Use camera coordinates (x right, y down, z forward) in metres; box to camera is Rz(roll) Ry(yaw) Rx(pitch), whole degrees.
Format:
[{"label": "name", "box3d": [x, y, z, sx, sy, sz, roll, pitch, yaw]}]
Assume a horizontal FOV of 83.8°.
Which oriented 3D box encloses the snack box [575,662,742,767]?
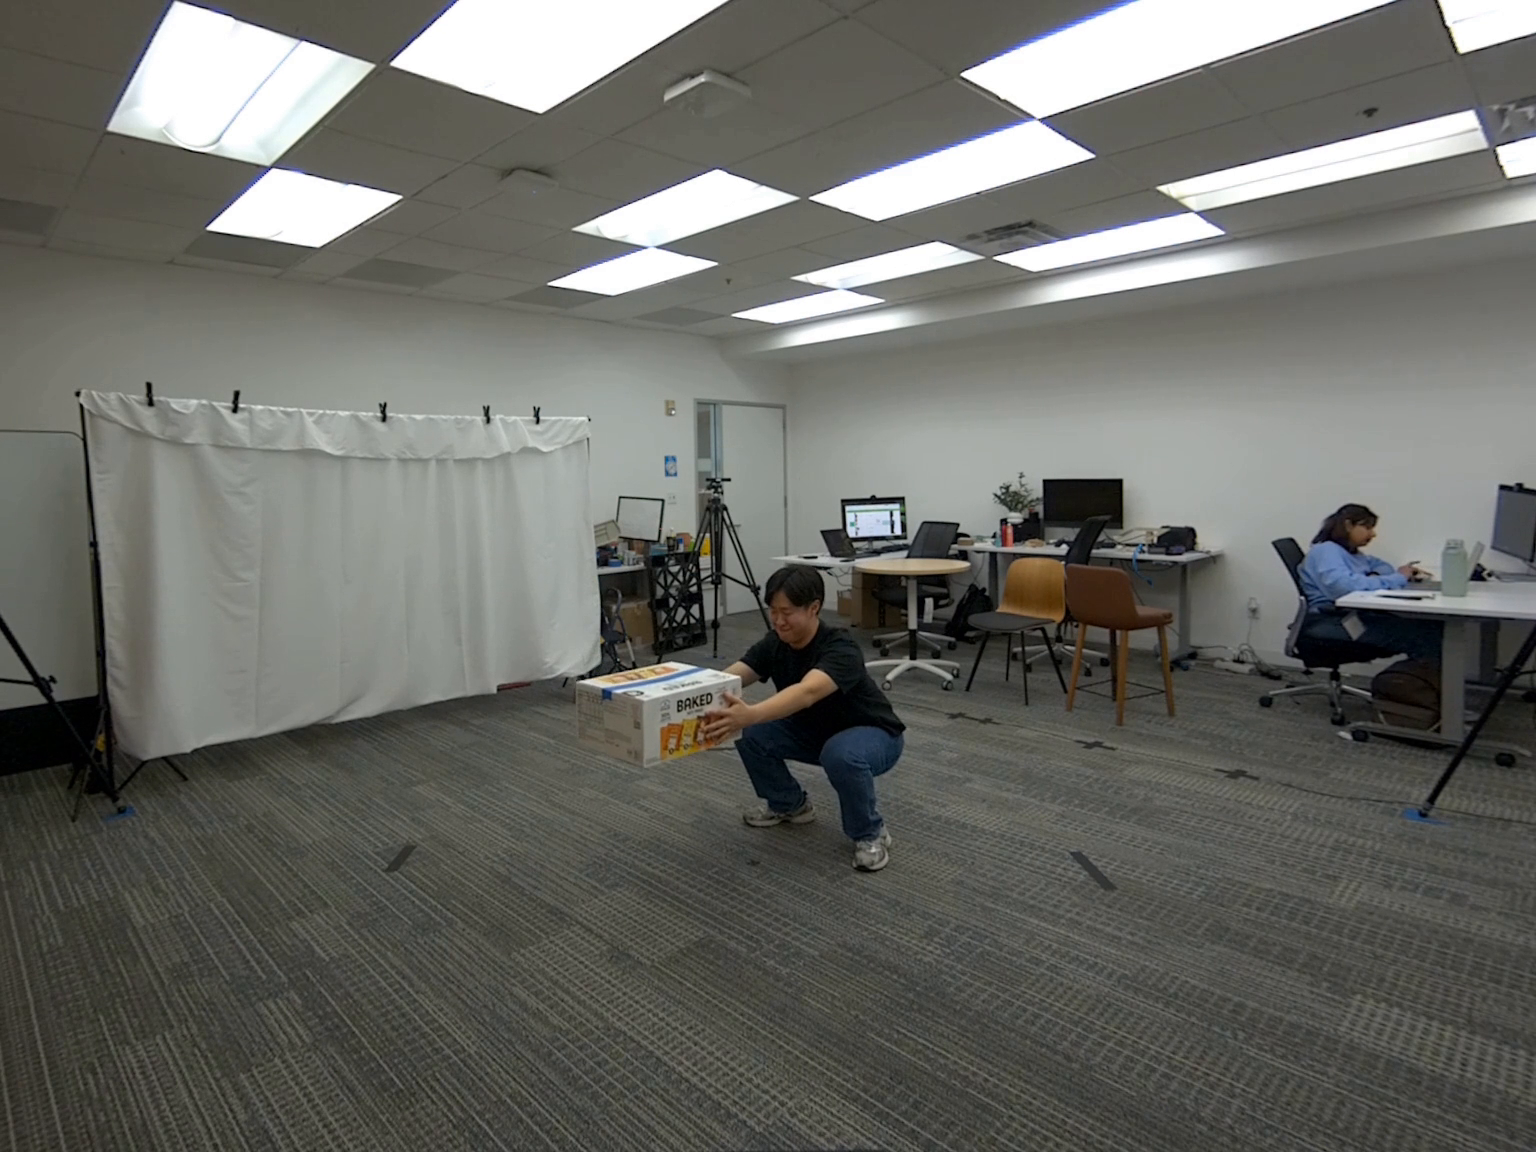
[{"label": "snack box", "box3d": [-0.340, 0.418, 2.699, 0.351, 0.205, 0.394, 4, 7, 44]}]
